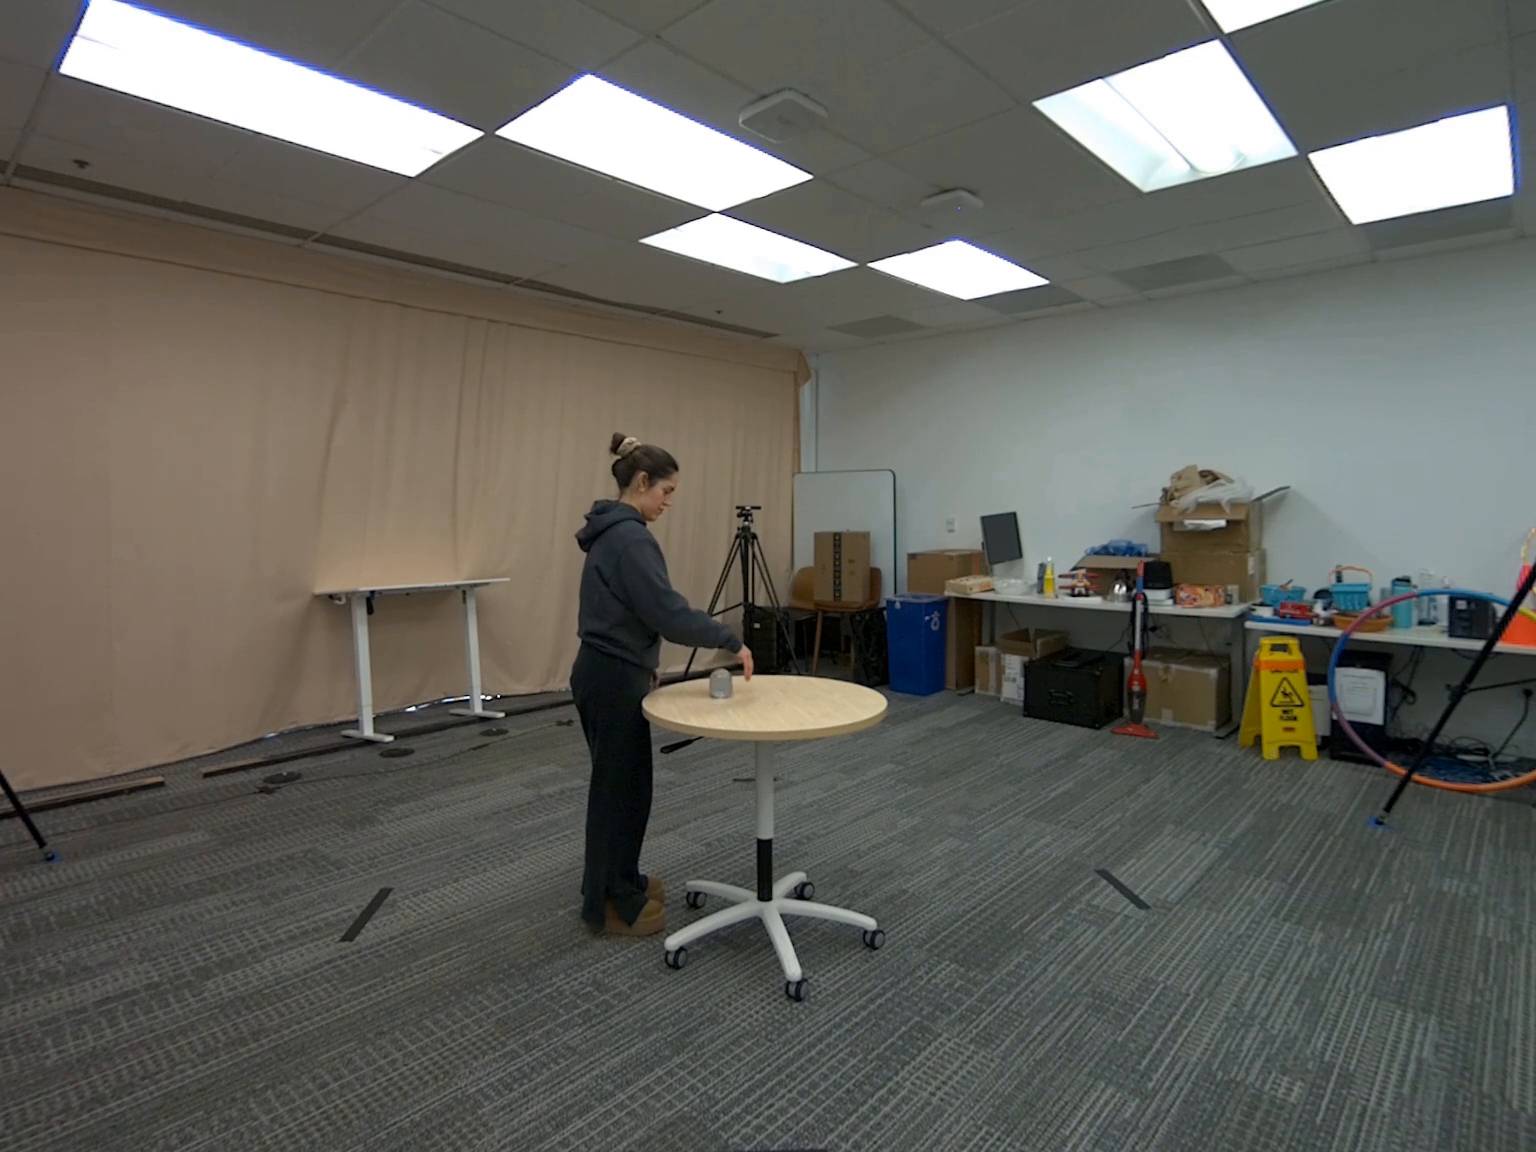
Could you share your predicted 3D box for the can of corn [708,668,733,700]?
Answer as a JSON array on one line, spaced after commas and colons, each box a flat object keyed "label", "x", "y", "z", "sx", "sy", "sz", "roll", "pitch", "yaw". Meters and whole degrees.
[{"label": "can of corn", "x": -0.141, "y": 0.348, "z": 2.718, "sx": 0.074, "sy": 0.074, "sz": 0.111, "roll": 0, "pitch": 4, "yaw": -1}]
